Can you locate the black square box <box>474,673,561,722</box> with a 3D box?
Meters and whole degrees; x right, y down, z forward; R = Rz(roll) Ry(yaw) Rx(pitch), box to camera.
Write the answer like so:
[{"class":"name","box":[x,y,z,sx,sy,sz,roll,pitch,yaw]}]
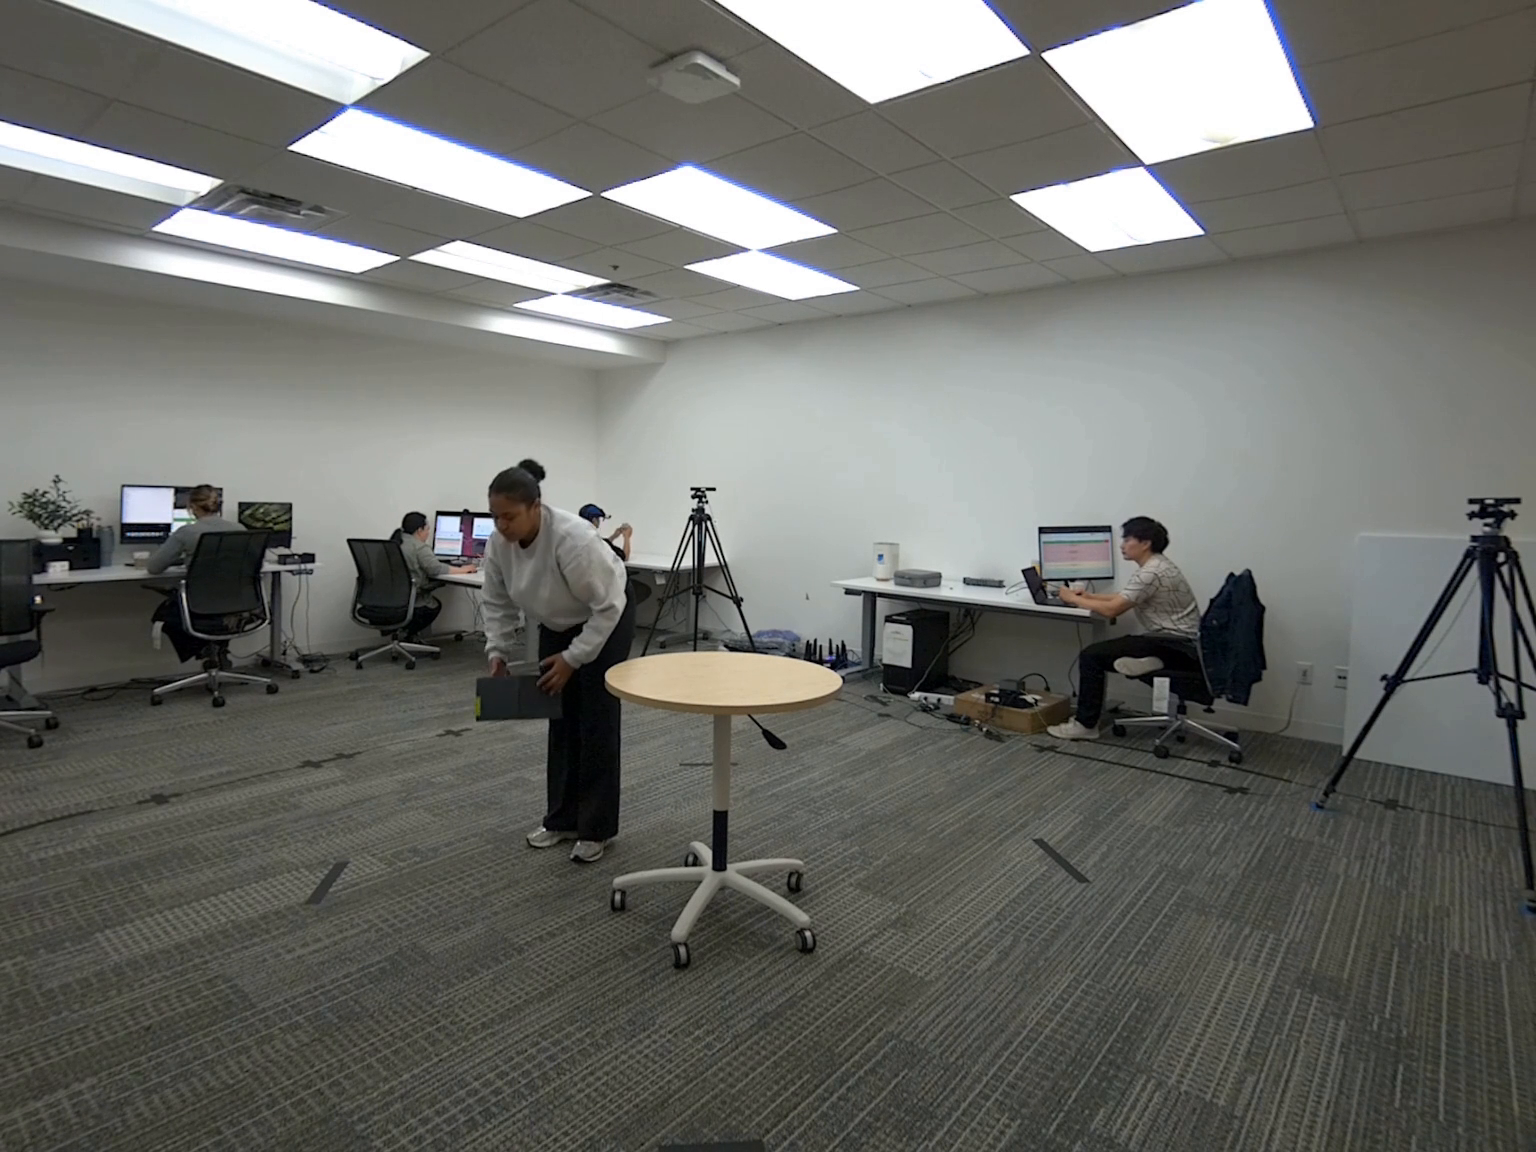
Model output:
[{"class":"black square box","box":[-0.919,0.451,3.086,0.222,0.157,0.220,-7,-9,29]}]
